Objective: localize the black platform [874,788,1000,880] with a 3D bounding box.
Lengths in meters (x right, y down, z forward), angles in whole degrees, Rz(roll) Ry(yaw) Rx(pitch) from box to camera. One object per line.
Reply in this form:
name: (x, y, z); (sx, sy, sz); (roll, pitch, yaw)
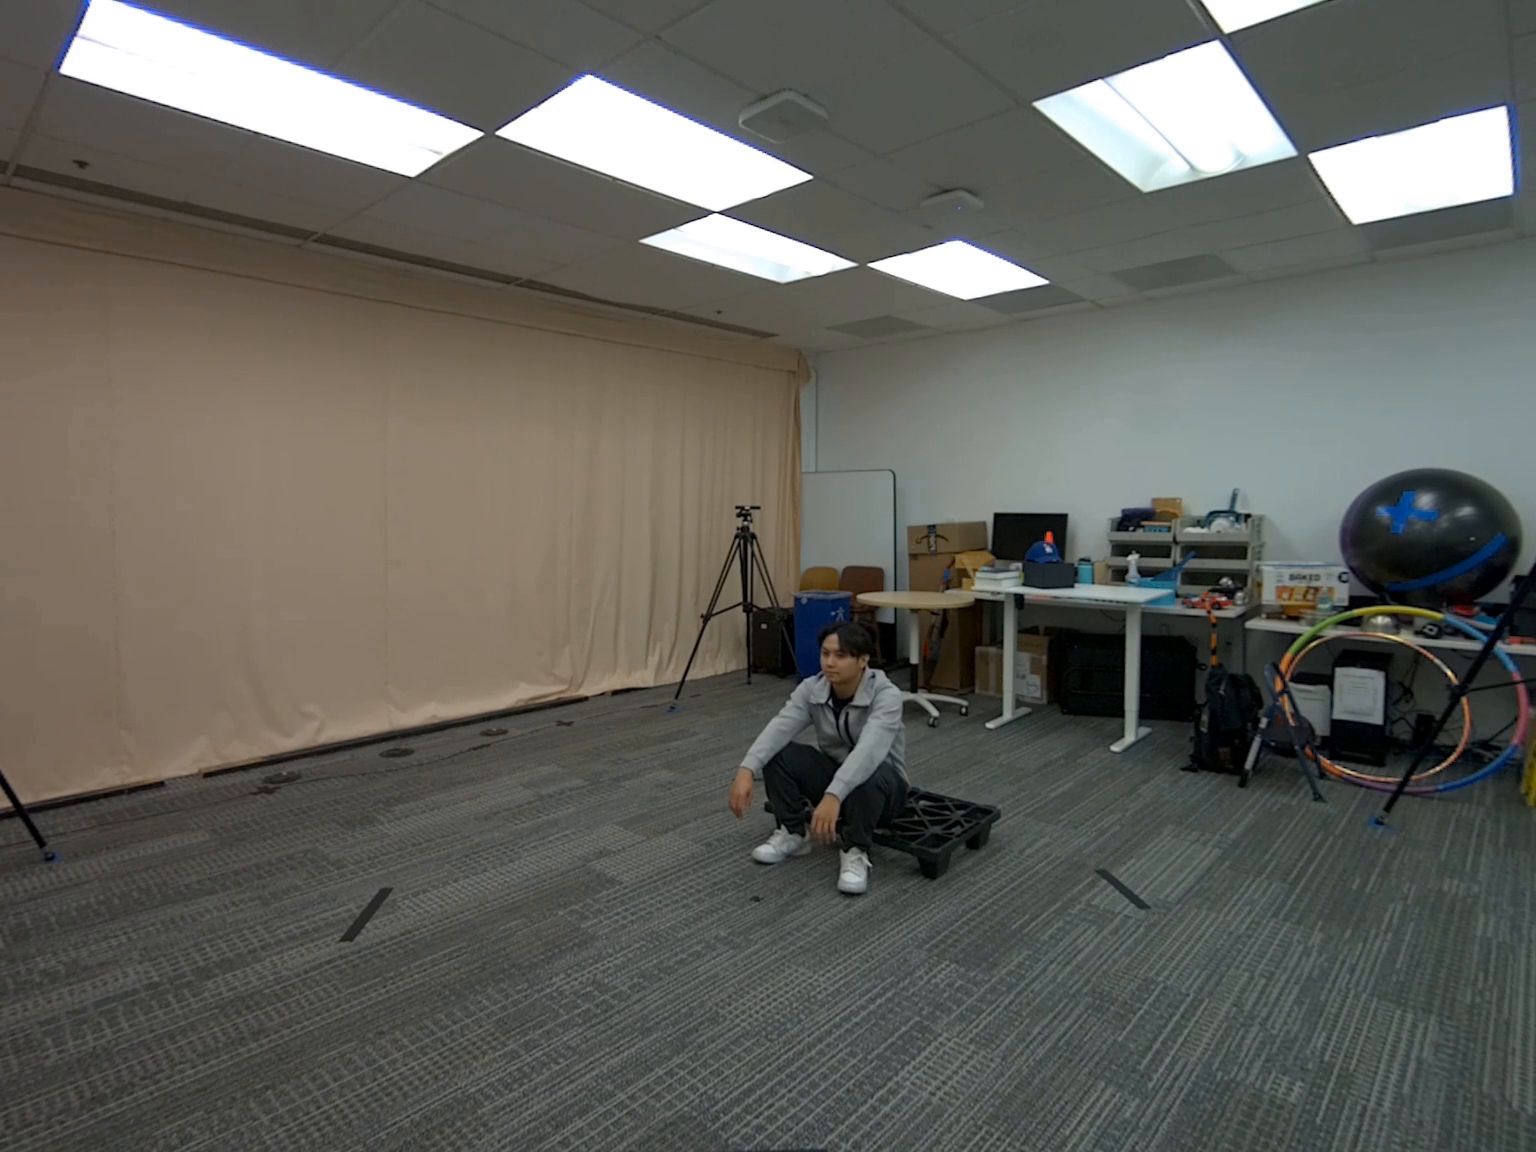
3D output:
black platform: (0.476, 1.029, 3.532); (0.832, 0.143, 0.587); (4, 6, 39)
